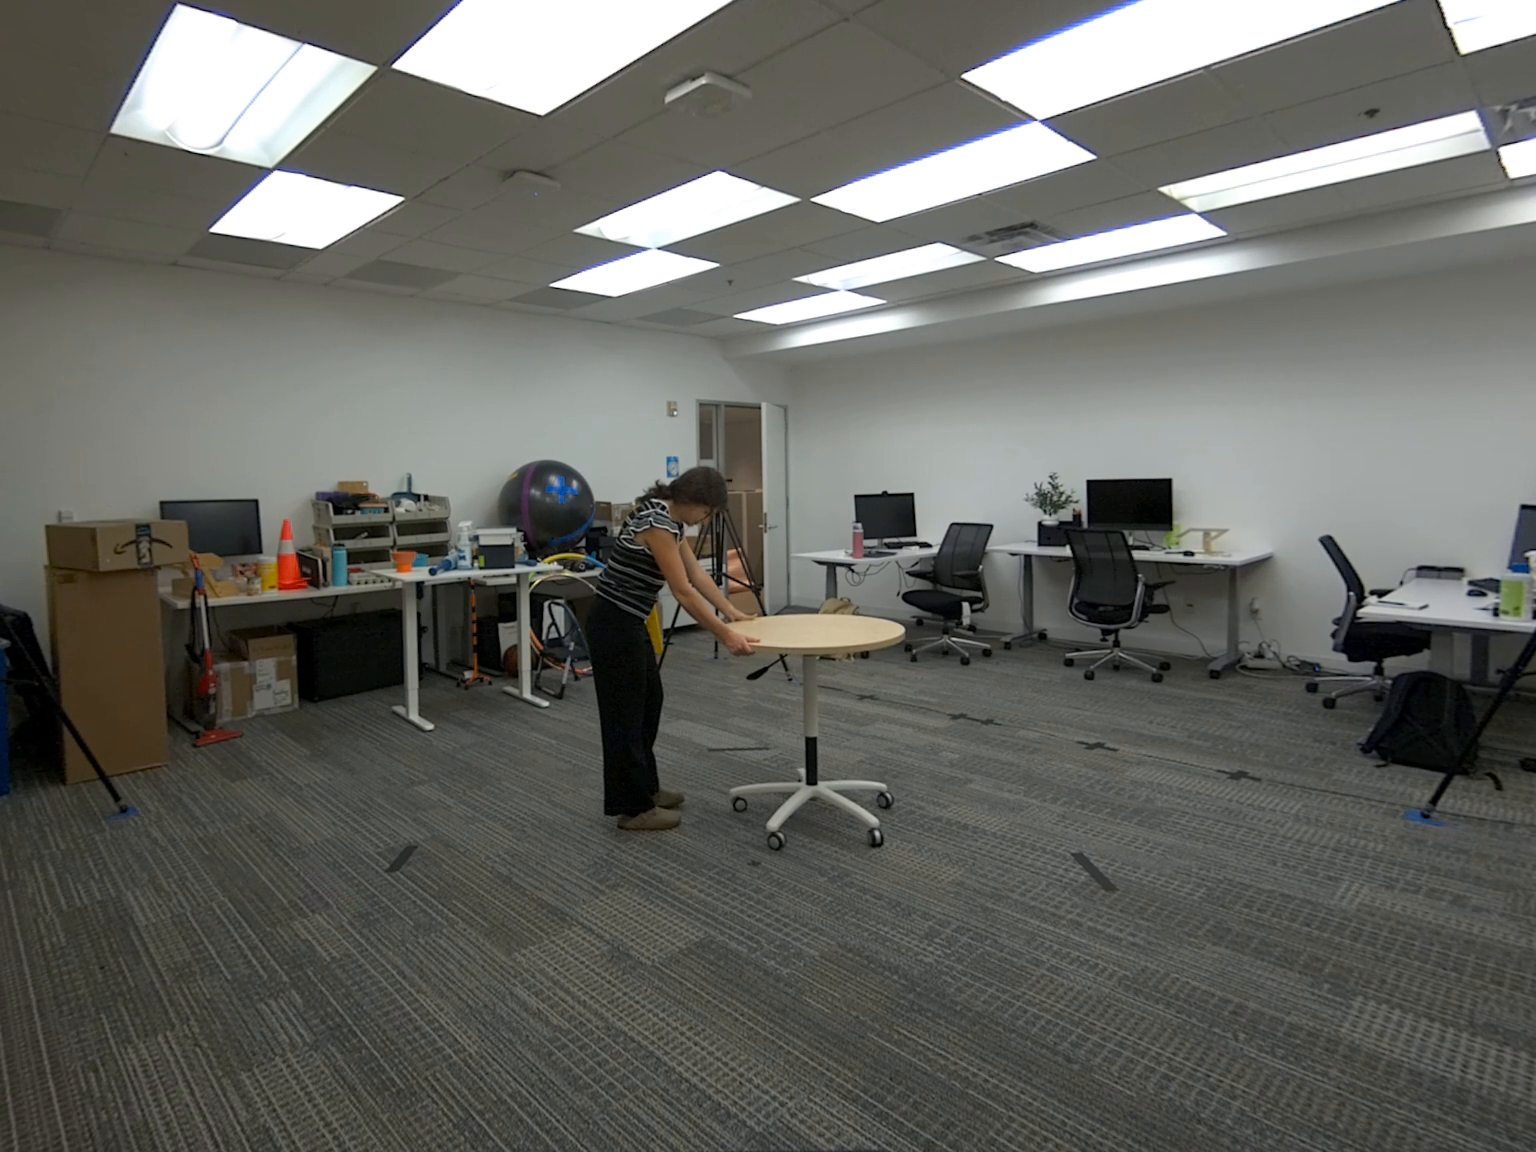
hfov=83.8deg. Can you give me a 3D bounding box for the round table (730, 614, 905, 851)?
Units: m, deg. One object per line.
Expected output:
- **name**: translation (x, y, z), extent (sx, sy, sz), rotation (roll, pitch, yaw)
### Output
- **round table**: translation (0.180, 0.606, 3.485), extent (0.763, 0.791, 0.768), rotation (-2, 5, -2)
